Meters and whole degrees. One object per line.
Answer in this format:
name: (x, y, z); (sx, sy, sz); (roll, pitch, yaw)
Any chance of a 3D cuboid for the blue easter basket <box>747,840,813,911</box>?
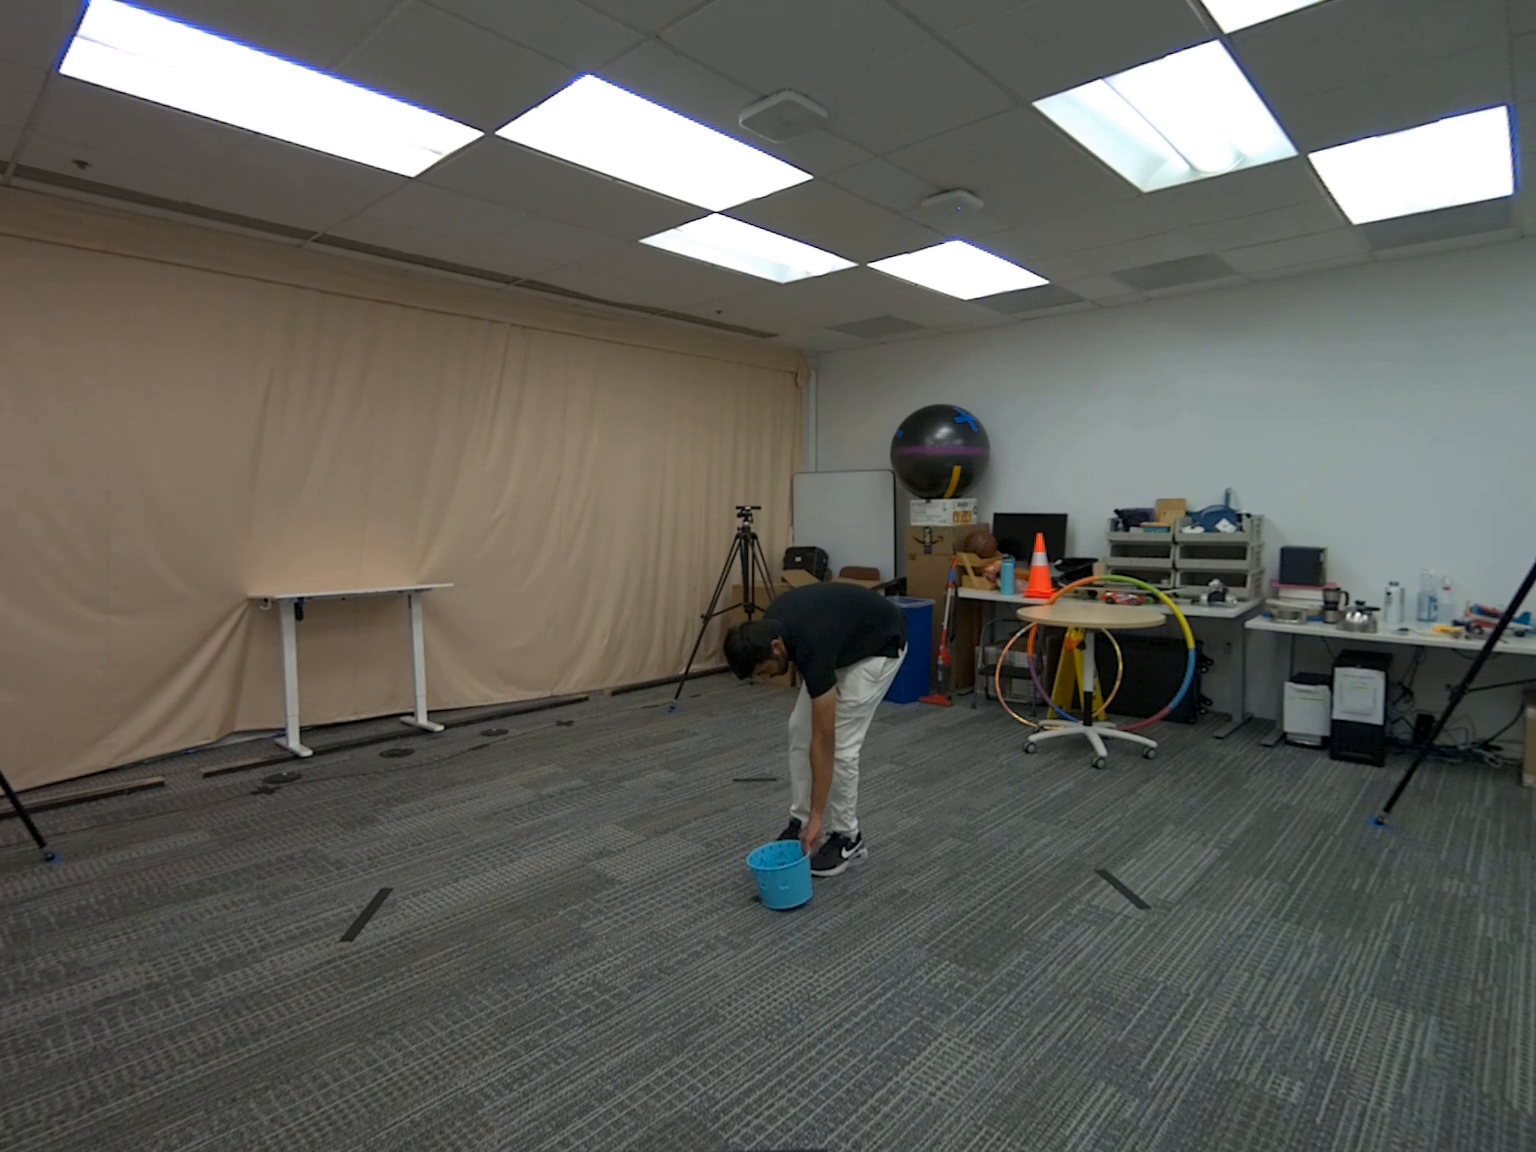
blue easter basket: (0.055, 1.051, 2.967); (0.243, 0.155, 0.244); (-12, 3, -1)
